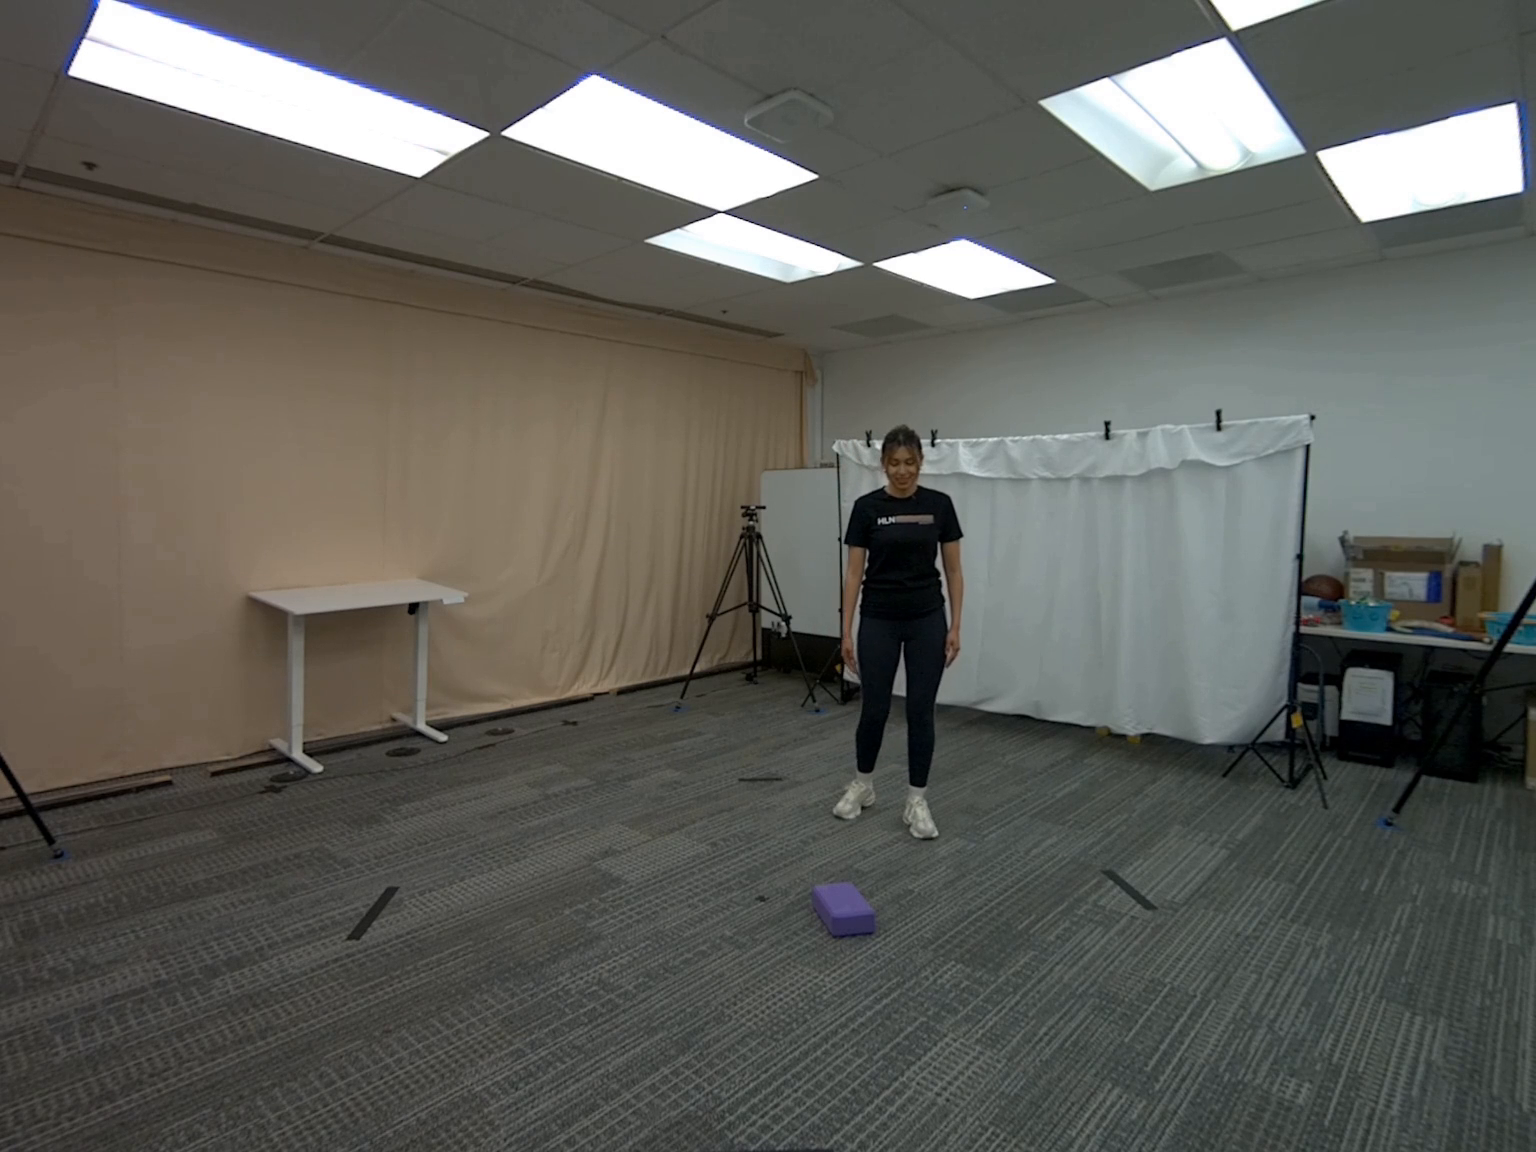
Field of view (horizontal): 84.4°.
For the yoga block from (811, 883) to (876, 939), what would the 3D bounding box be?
[{"bbox_3d":[0.253,1.118,2.826,0.147,0.076,0.233,-2,5,-13],"label":"yoga block"}]
